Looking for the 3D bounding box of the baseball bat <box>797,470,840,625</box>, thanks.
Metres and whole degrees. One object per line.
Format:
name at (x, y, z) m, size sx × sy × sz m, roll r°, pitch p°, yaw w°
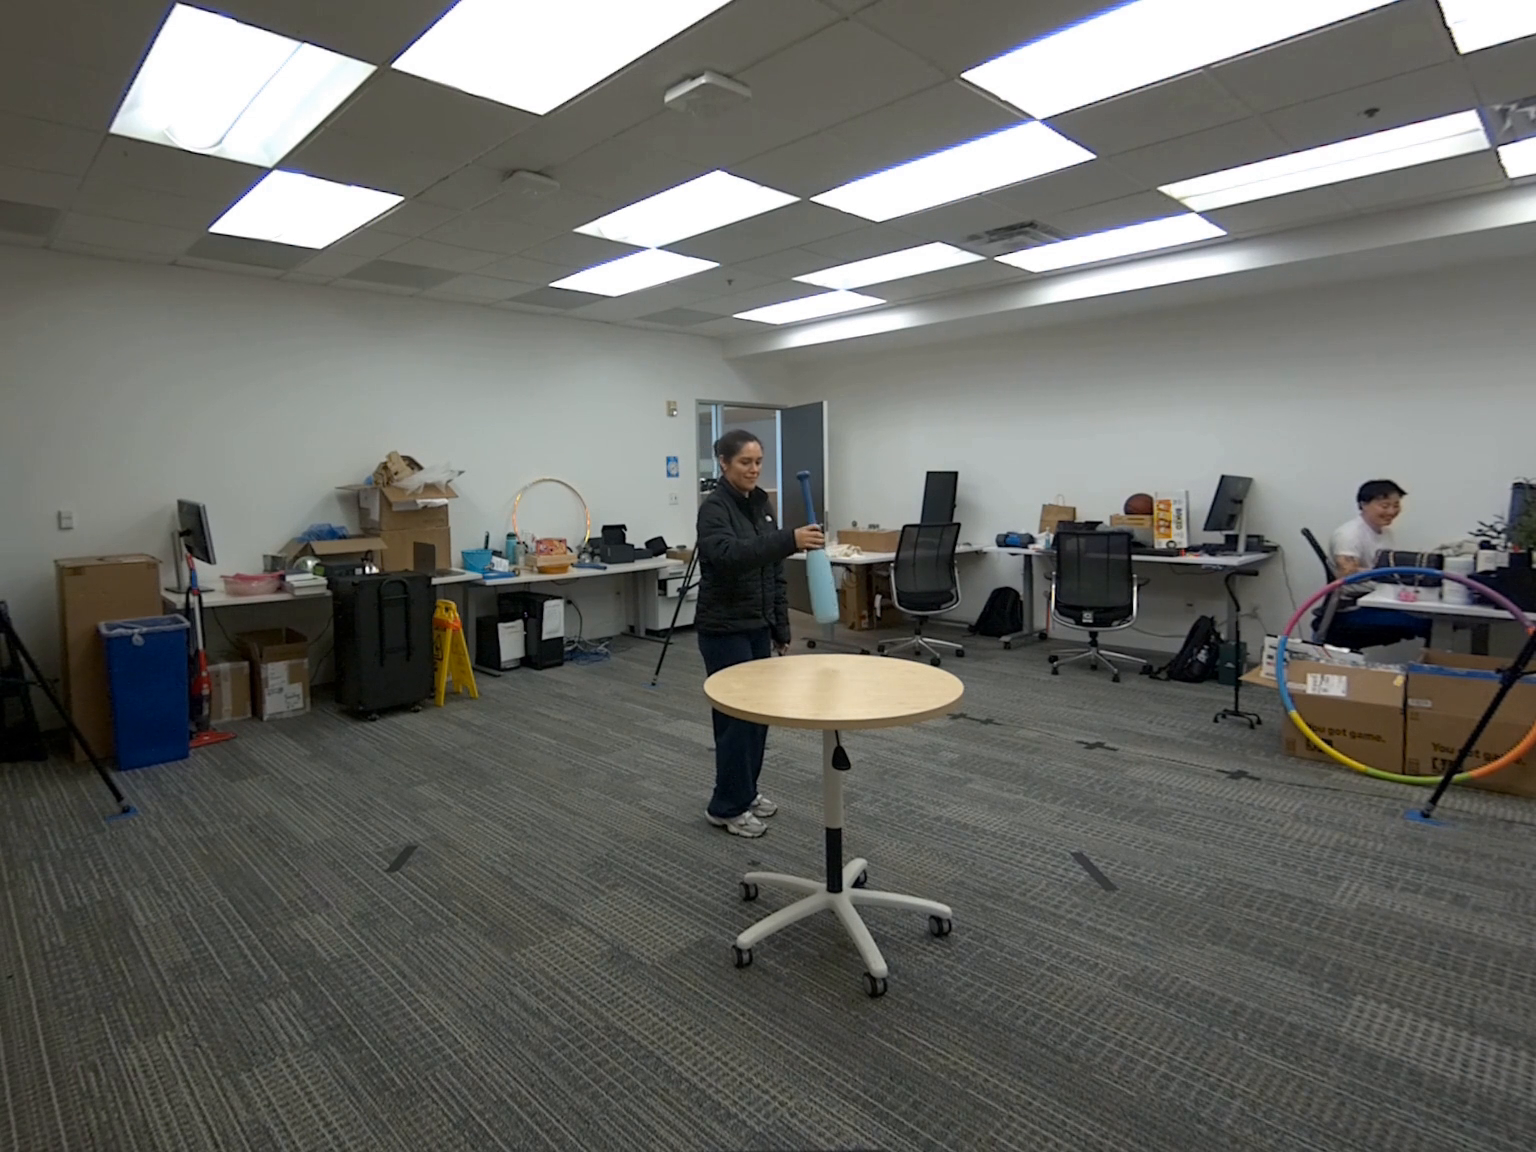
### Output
baseball bat at (0.159, -0.111, 3.013) m, size 0.089 × 0.549 × 0.088 m, roll -4°, pitch -12°, yaw -2°
